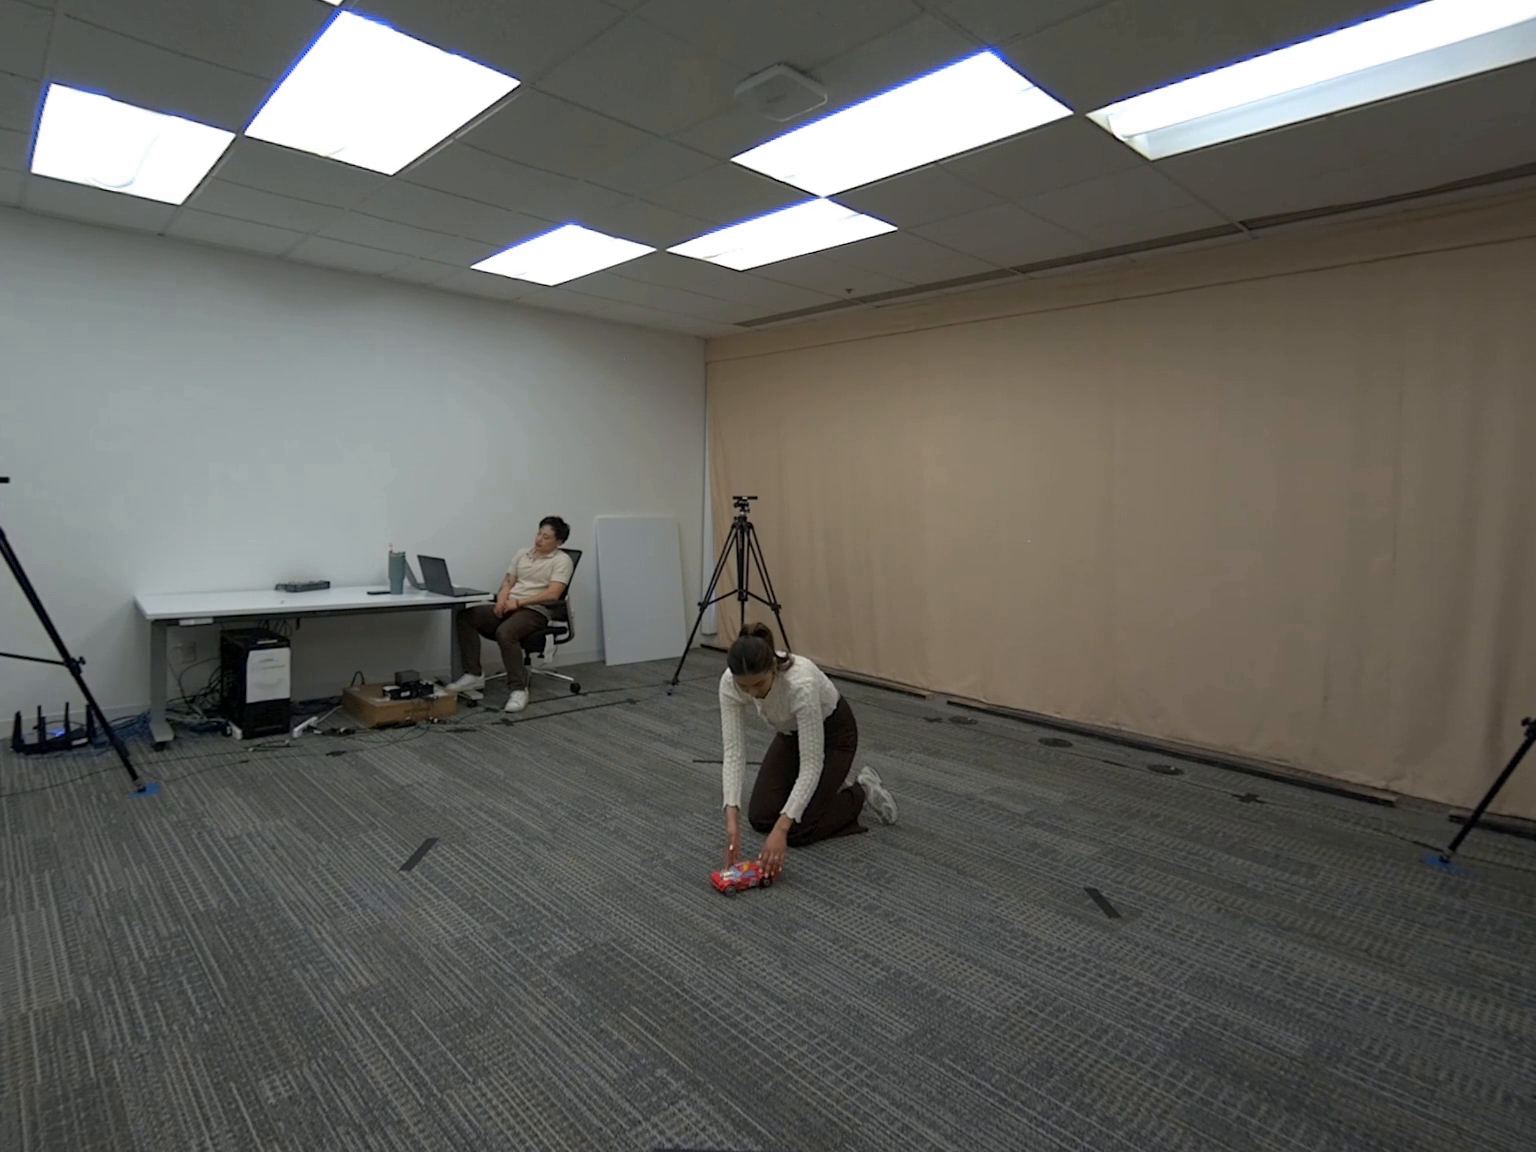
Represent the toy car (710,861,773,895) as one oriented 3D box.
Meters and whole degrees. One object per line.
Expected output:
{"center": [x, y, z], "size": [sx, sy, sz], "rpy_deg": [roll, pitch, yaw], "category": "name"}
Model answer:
{"center": [-0.083, 1.079, 3.026], "size": [0.251, 0.082, 0.133], "rpy_deg": [-12, 11, -26], "category": "toy car"}
